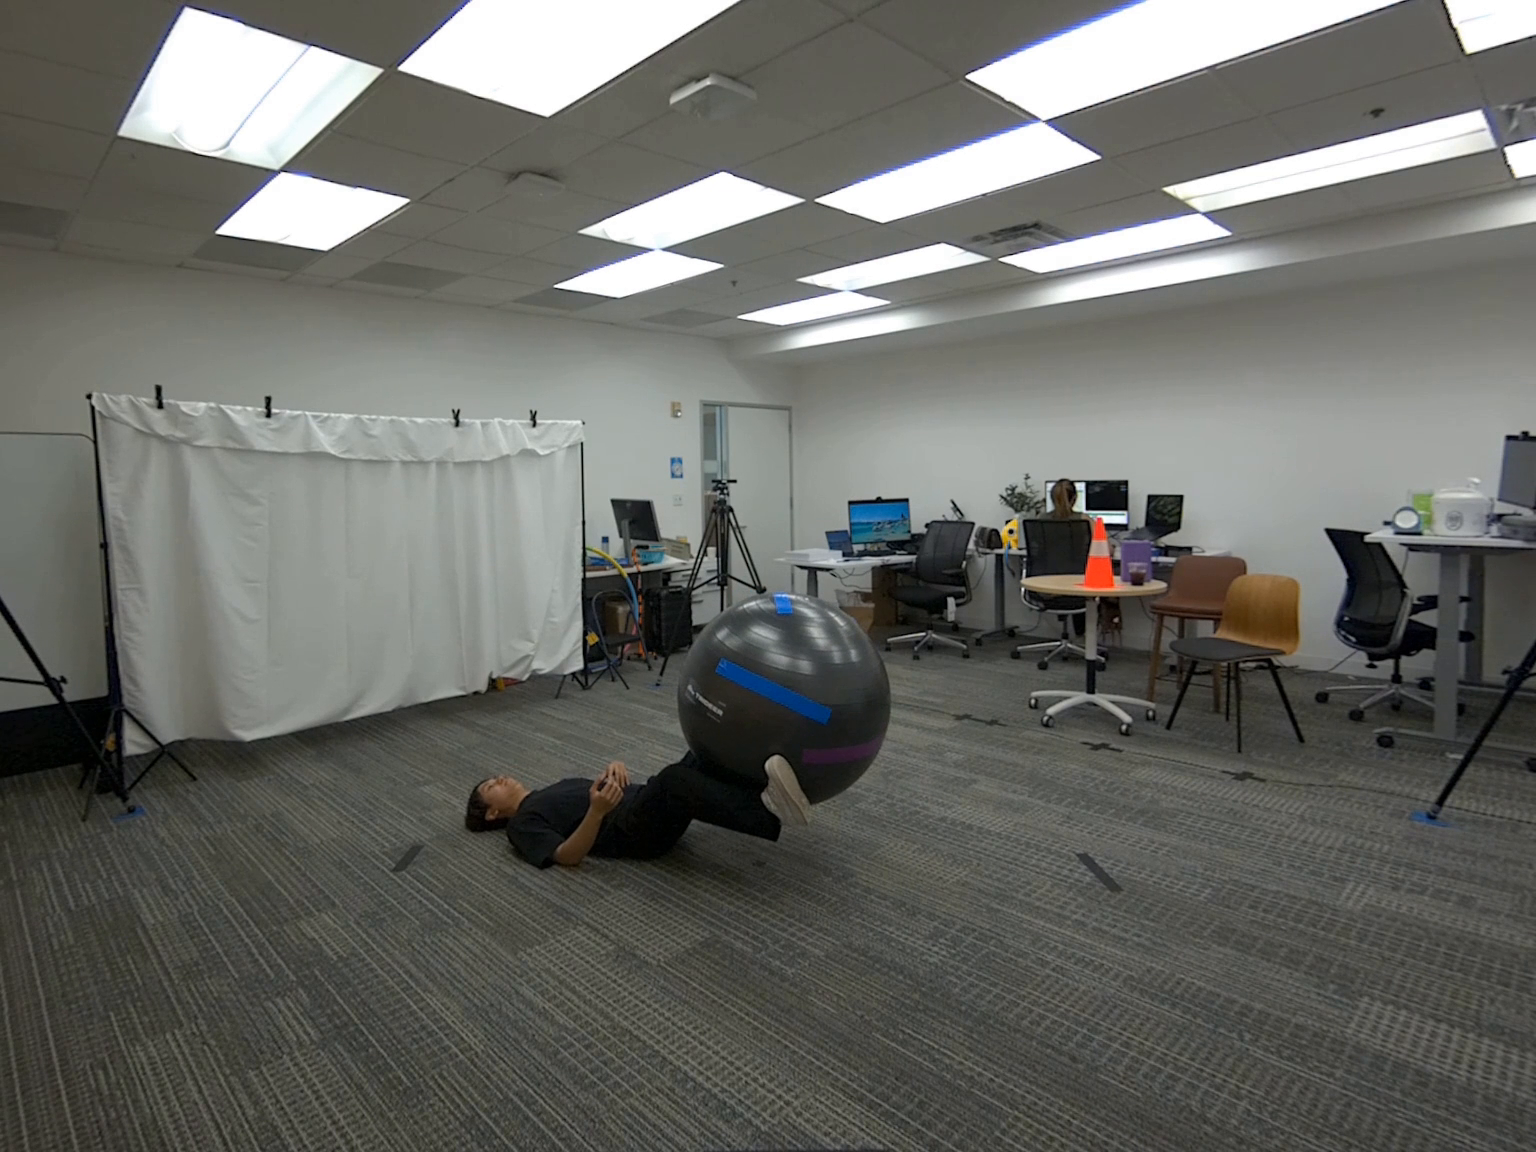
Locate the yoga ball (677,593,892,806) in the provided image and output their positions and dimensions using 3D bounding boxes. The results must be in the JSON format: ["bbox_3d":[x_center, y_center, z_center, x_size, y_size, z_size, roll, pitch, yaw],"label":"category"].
[{"bbox_3d":[0.056,0.443,3.075,0.757,0.755,0.762,-1,5,-2],"label":"yoga ball"}]
